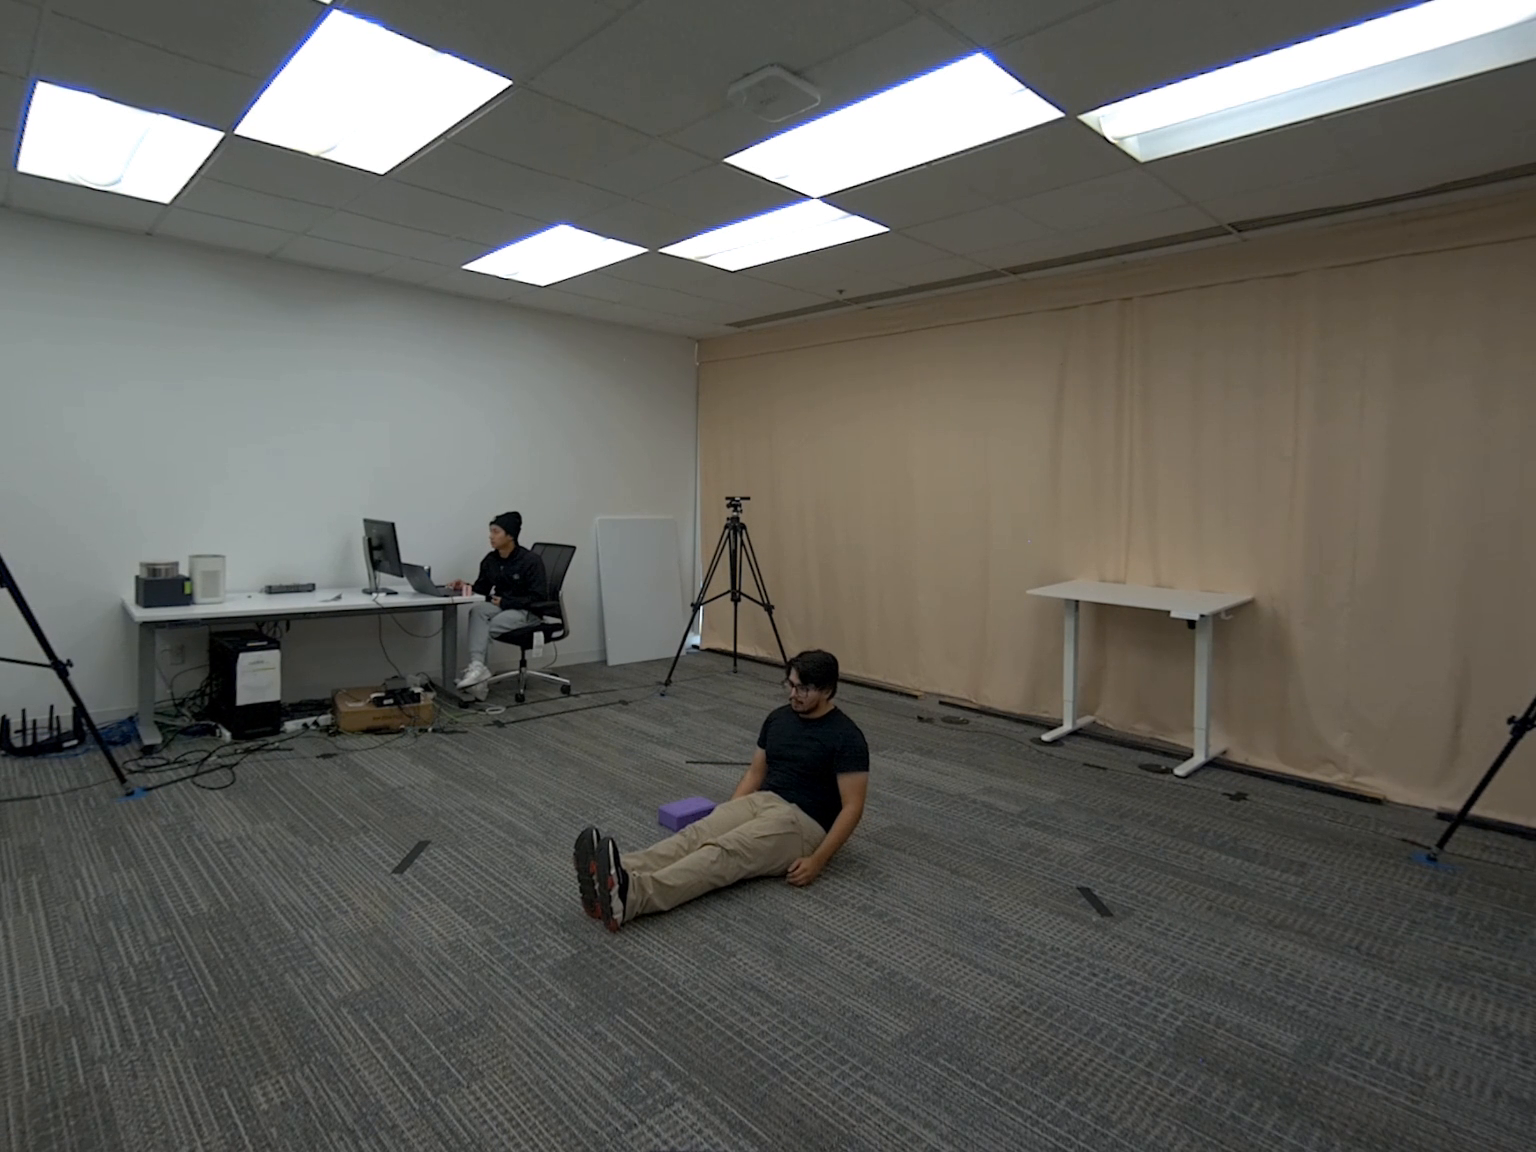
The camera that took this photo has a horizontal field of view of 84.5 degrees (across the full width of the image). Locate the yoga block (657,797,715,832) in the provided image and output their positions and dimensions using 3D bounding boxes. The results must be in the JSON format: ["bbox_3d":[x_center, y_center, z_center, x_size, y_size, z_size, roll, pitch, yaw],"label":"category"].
[{"bbox_3d":[-0.343,1.012,3.610,0.224,0.076,0.153,-5,7,-41],"label":"yoga block"}]
